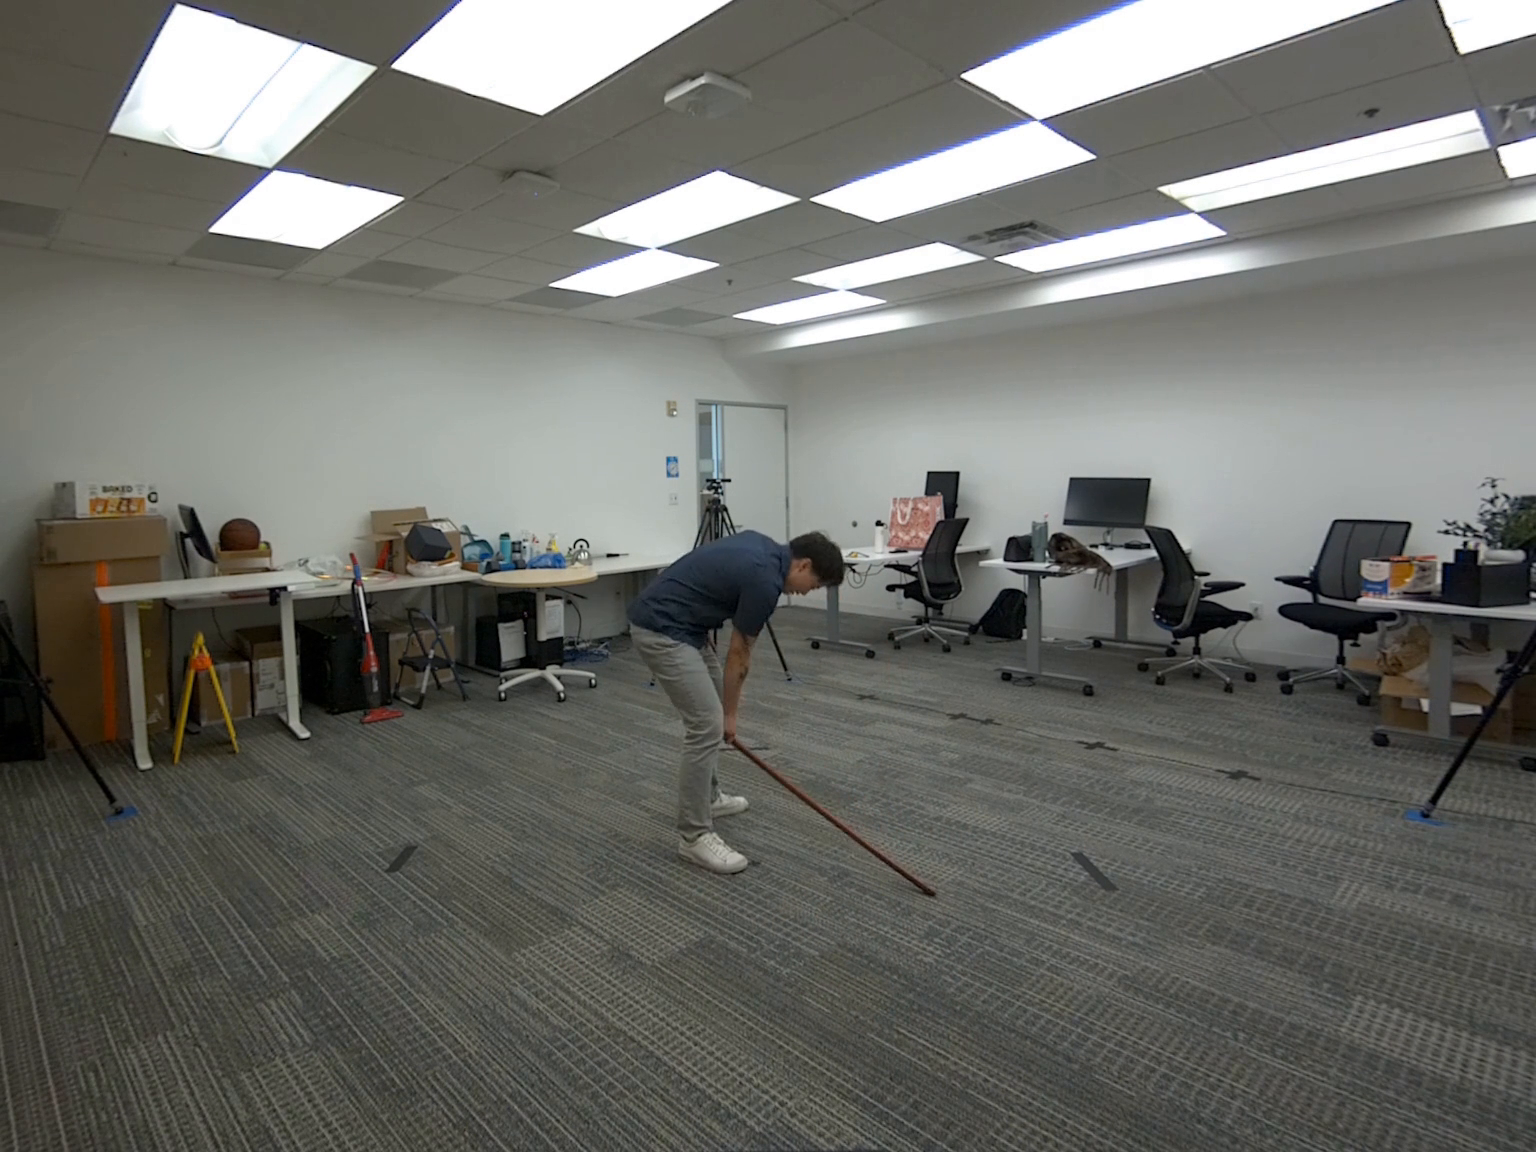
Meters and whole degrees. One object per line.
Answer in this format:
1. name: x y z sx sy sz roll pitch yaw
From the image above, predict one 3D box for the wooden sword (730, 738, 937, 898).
1. wooden sword: 0.185 0.841 3.137 1.063 0.024 0.049 31 -13 35
